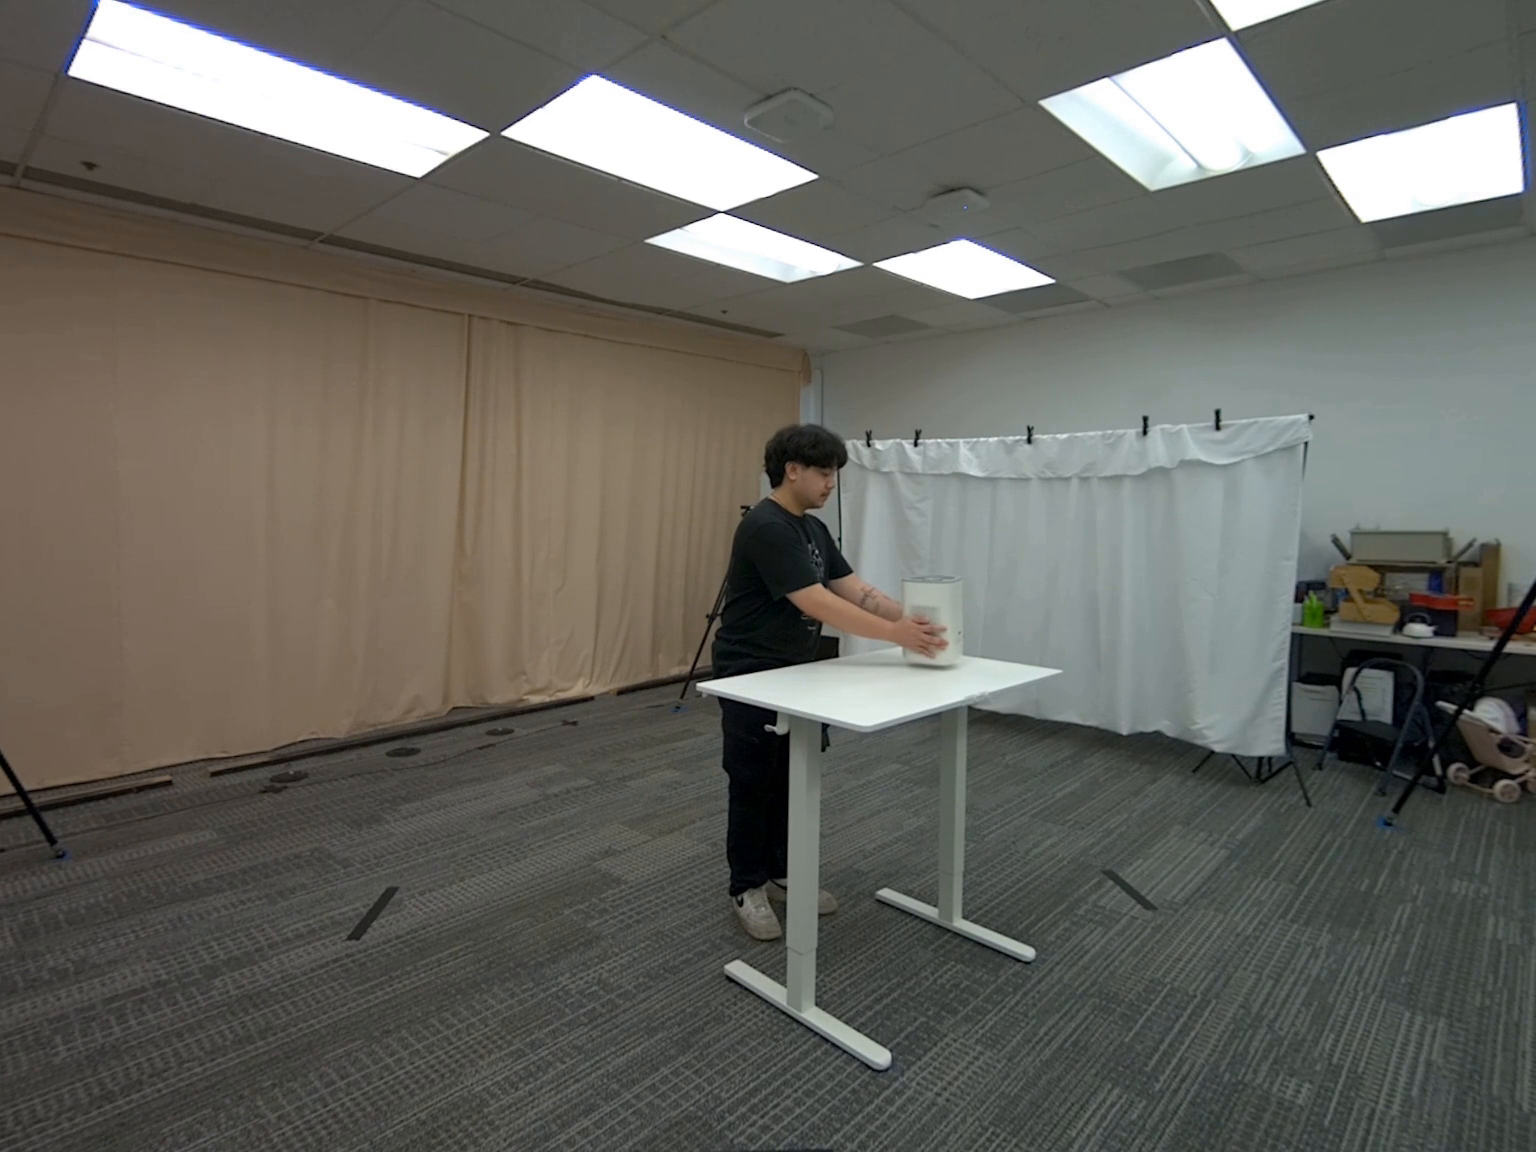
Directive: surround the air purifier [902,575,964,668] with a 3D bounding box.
[{"bbox_3d":[0.529,0.140,2.652,0.177,0.264,0.167,3,8,32],"label":"air purifier"}]
